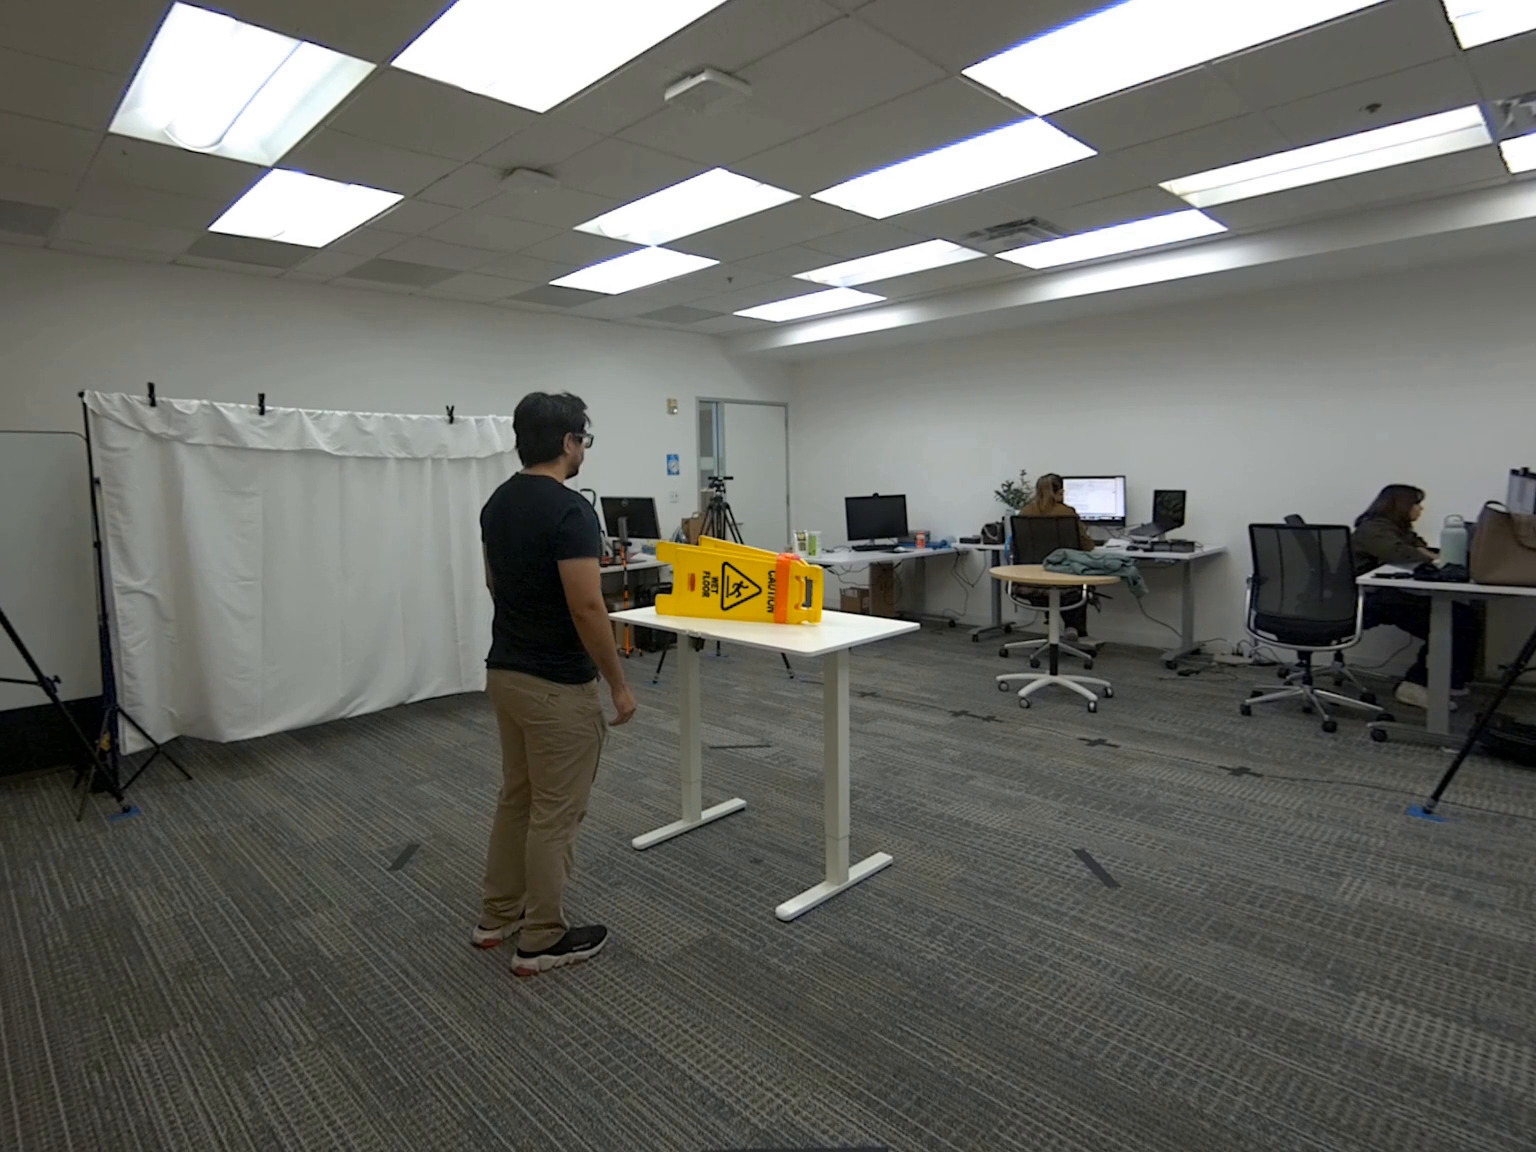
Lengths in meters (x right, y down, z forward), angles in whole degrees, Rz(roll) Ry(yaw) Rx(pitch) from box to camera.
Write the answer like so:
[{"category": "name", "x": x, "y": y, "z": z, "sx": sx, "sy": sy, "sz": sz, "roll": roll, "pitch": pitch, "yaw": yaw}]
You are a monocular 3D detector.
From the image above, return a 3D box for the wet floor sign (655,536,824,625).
[{"category": "wet floor sign", "x": -0.080, "y": 0.030, "z": 3.113, "sx": 0.666, "sy": 0.280, "sz": 0.283, "roll": 8, "pitch": 10, "yaw": 36}]
